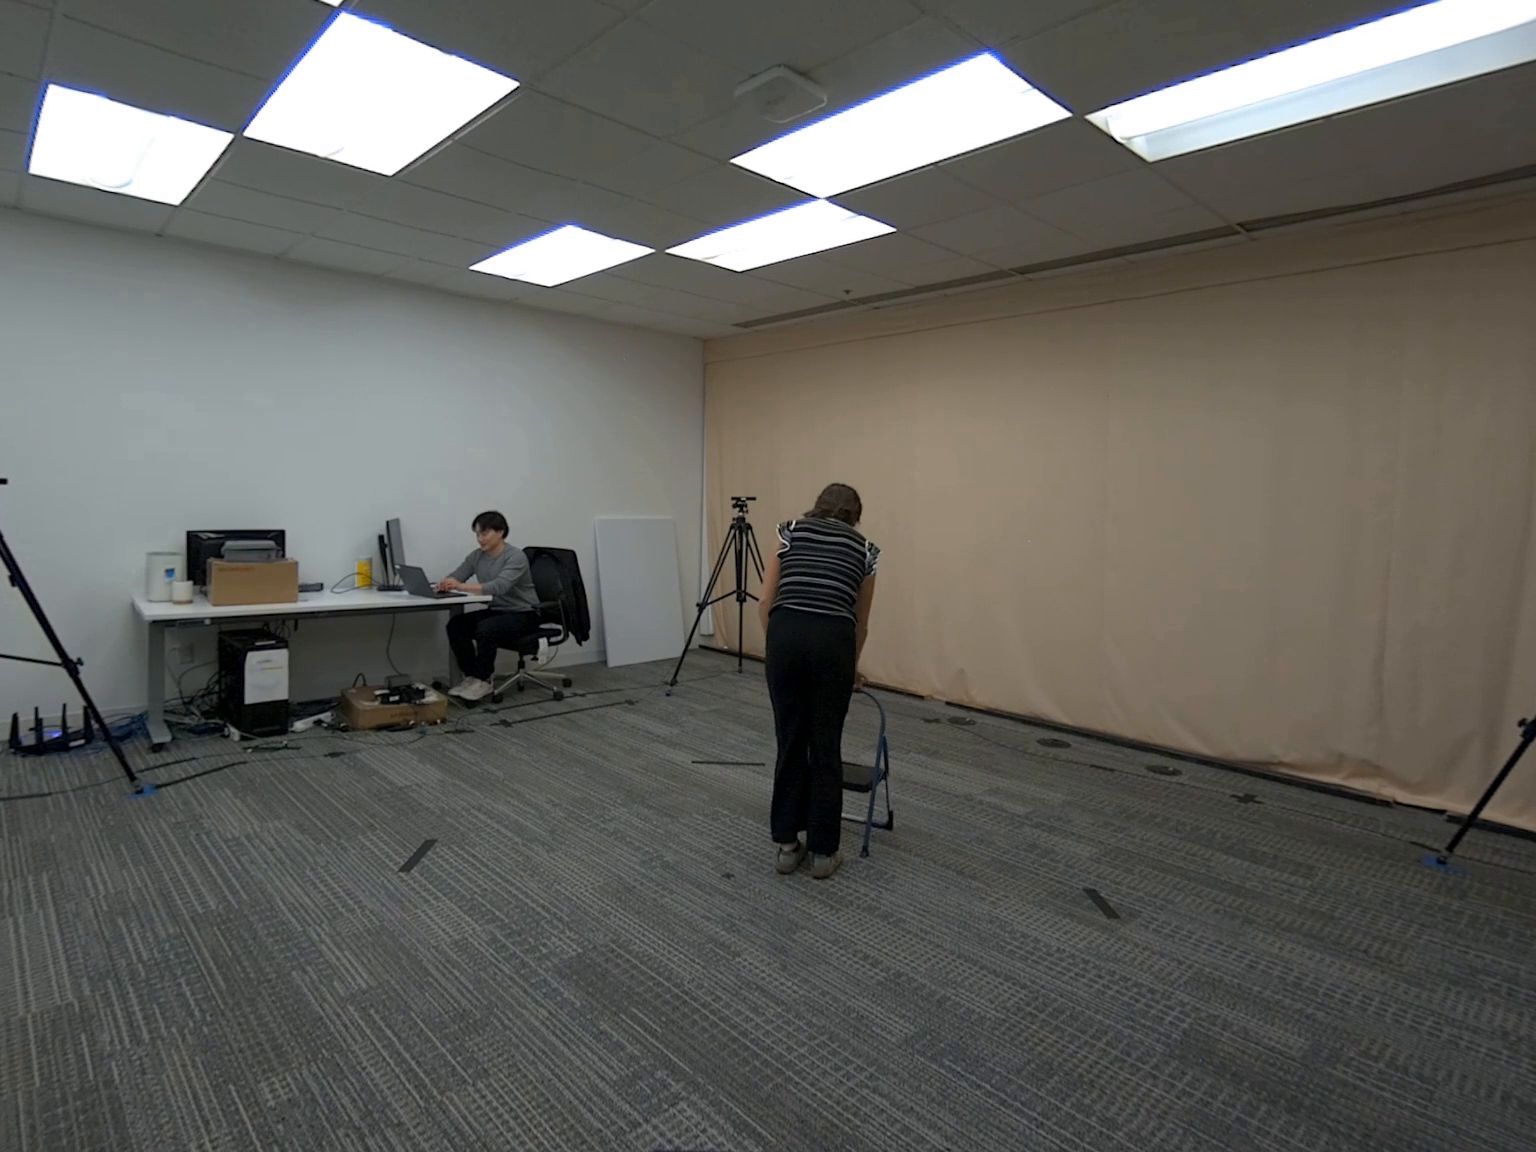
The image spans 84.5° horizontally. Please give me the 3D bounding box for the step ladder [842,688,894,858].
[{"bbox_3d":[0.280,0.780,3.539,0.440,0.605,0.342,3,3,29],"label":"step ladder"}]
